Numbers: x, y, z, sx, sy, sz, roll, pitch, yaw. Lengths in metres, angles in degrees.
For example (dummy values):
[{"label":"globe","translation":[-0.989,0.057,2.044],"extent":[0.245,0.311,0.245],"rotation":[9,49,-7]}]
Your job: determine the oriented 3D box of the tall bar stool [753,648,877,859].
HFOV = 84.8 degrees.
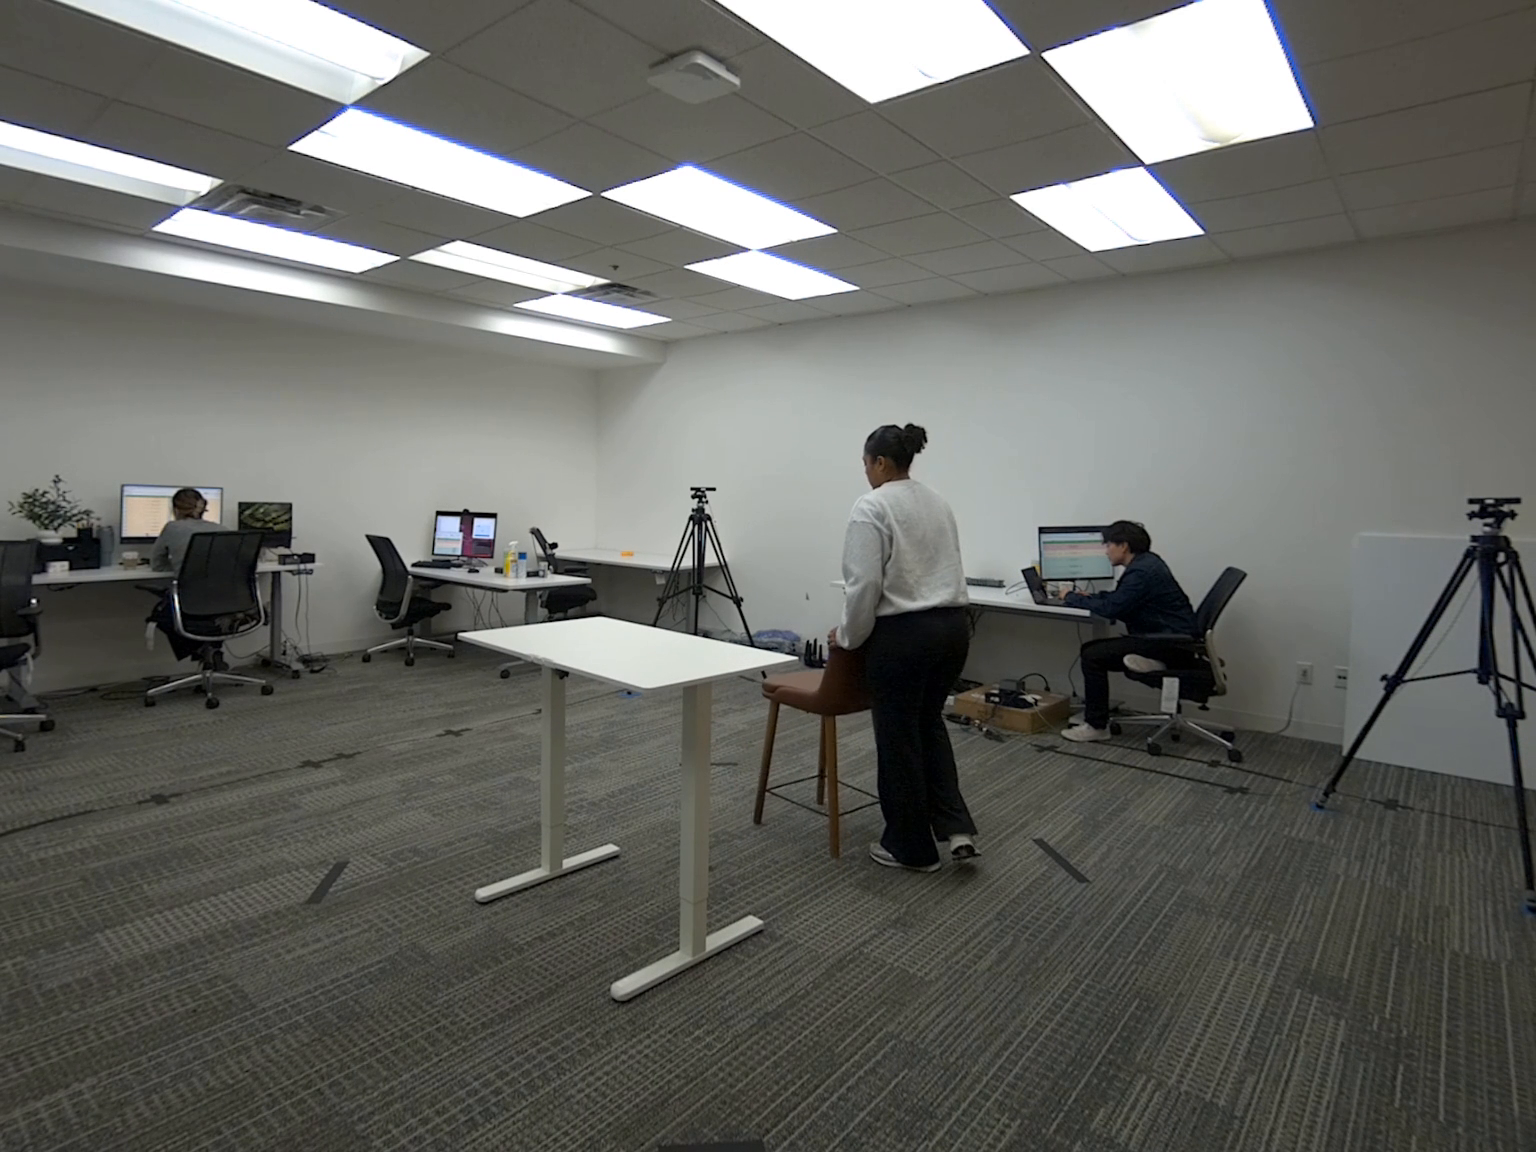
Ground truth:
[{"label":"tall bar stool","translation":[0.239,0.600,3.473],"extent":[0.442,0.886,0.484],"rotation":[-1,6,-42]}]
